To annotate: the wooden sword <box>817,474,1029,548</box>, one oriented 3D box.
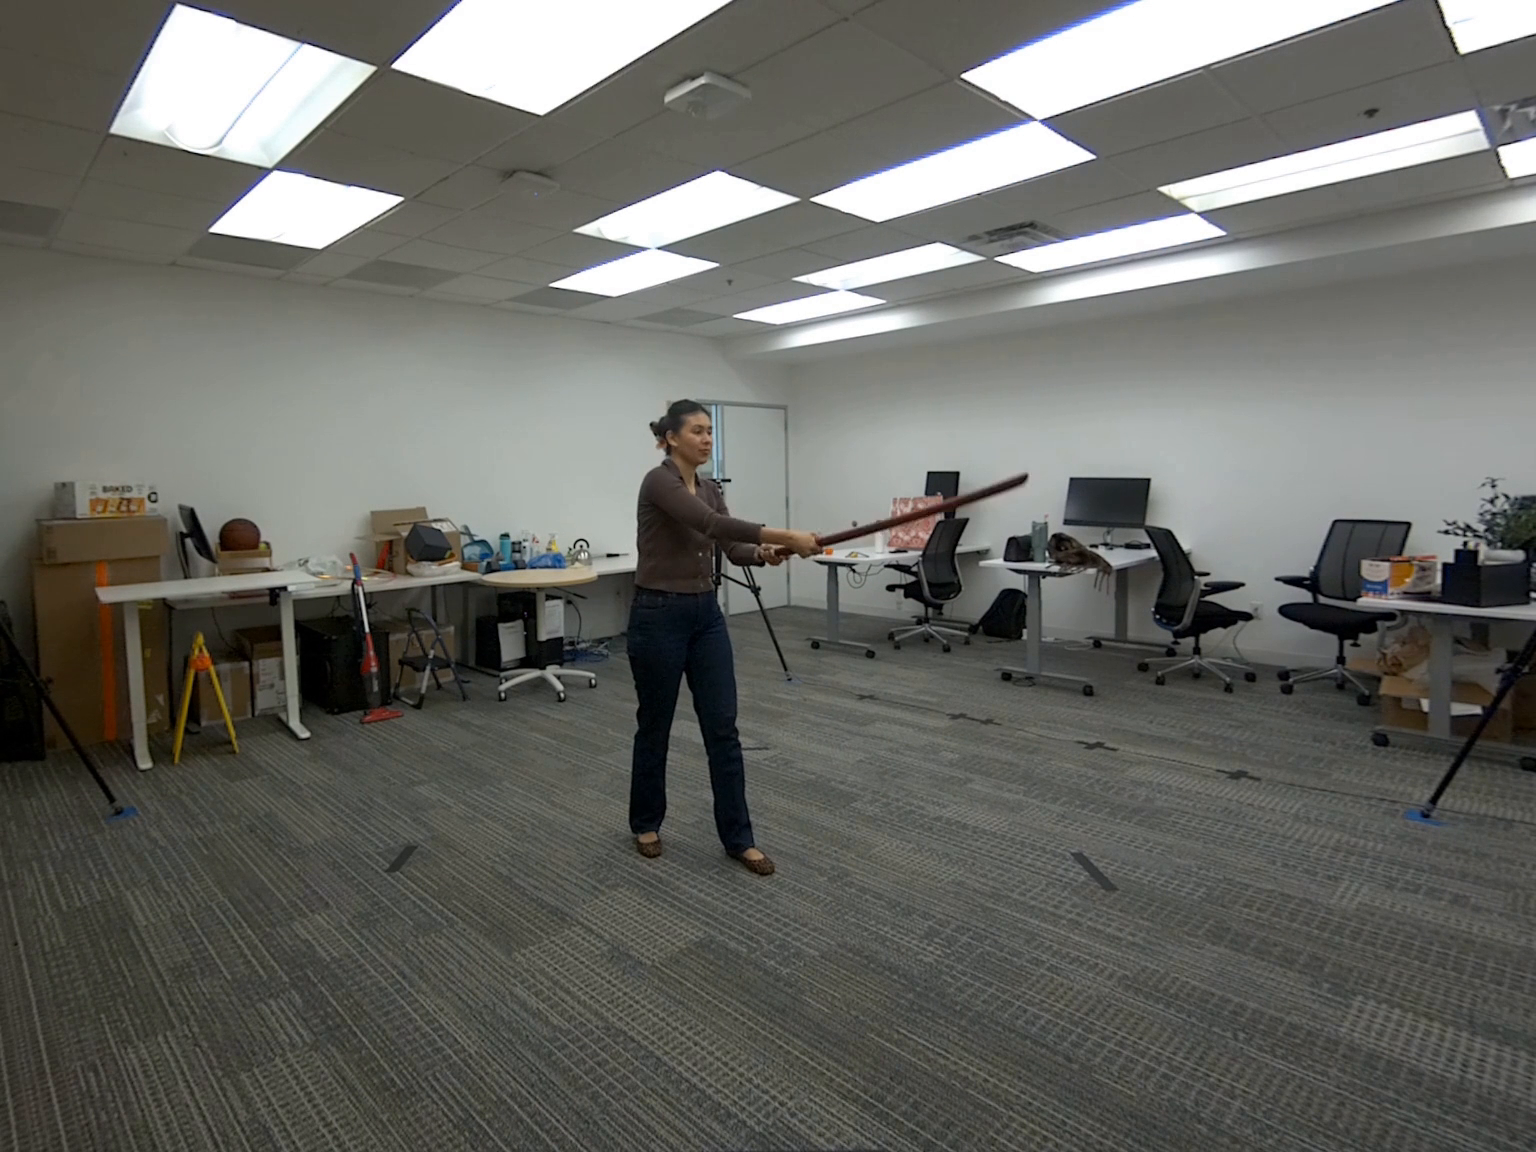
[{"bbox_3d":[0.331,-0.148,2.521,0.023,0.052,1.044,33,-29,-28],"label":"wooden sword"}]
